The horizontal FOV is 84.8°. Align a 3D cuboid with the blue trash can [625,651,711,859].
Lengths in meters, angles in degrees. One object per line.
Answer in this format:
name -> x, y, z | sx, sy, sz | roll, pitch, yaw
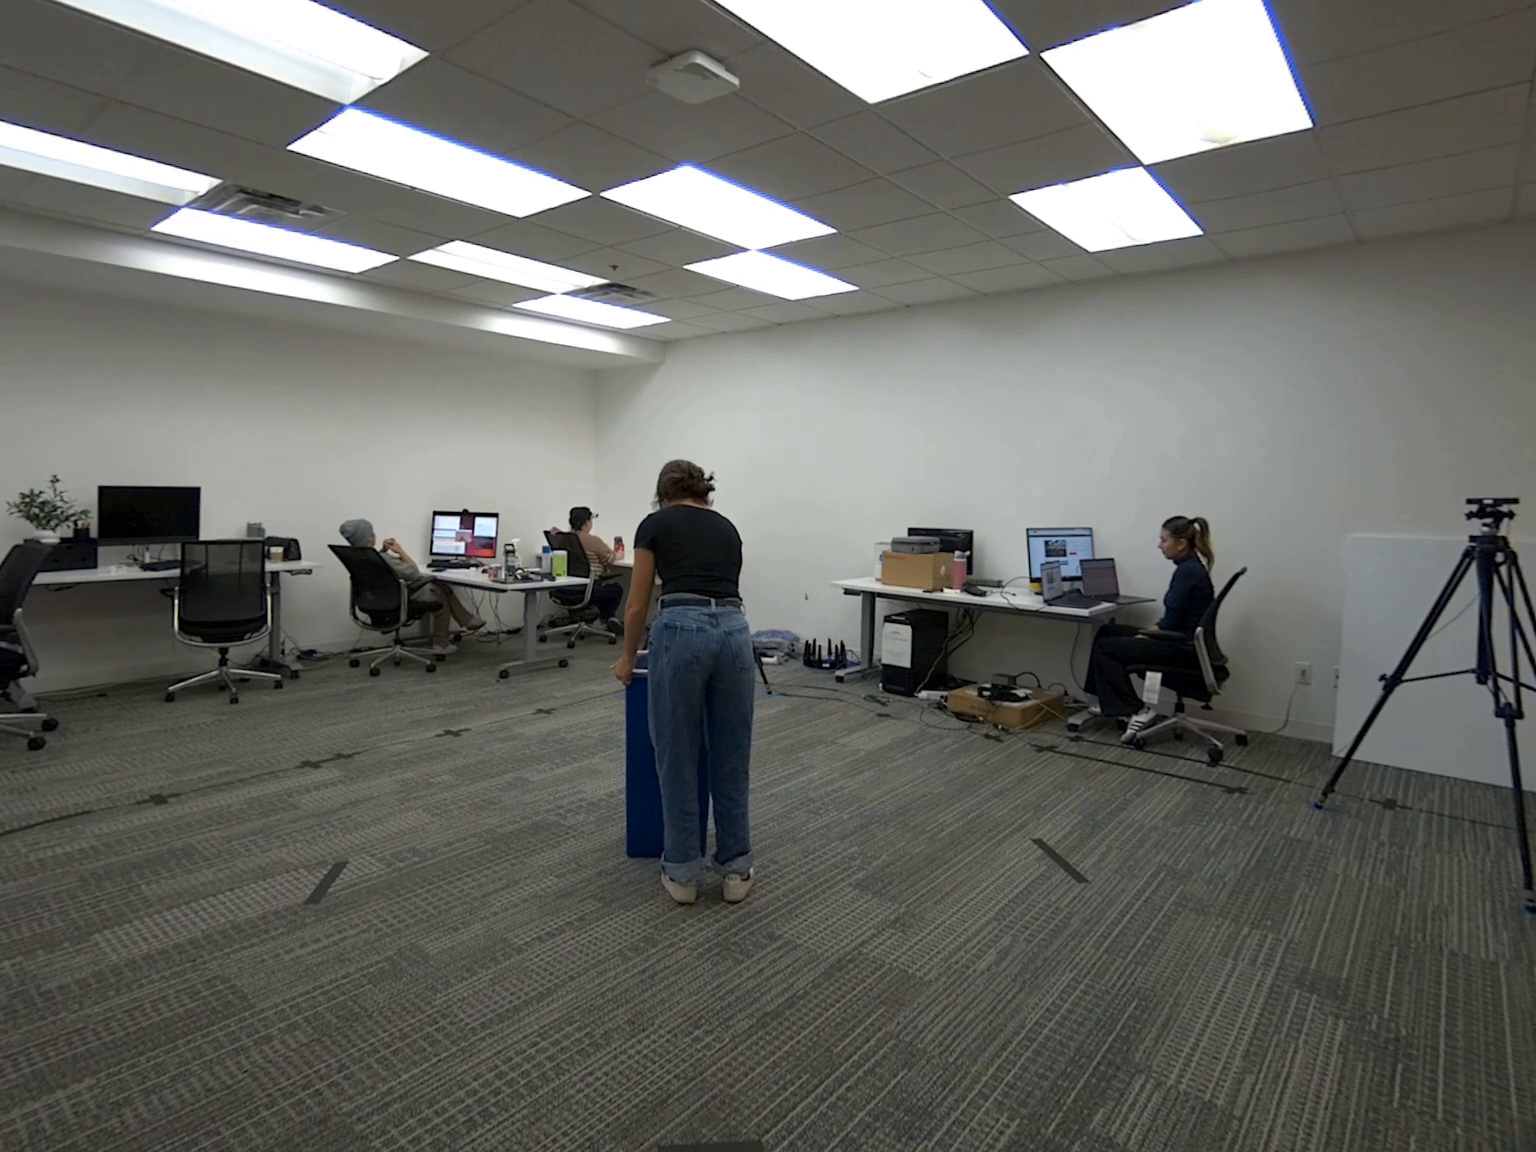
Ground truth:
blue trash can -> -0.404, 0.681, 3.317 | 0.373, 0.711, 0.381 | 2, 3, -4
